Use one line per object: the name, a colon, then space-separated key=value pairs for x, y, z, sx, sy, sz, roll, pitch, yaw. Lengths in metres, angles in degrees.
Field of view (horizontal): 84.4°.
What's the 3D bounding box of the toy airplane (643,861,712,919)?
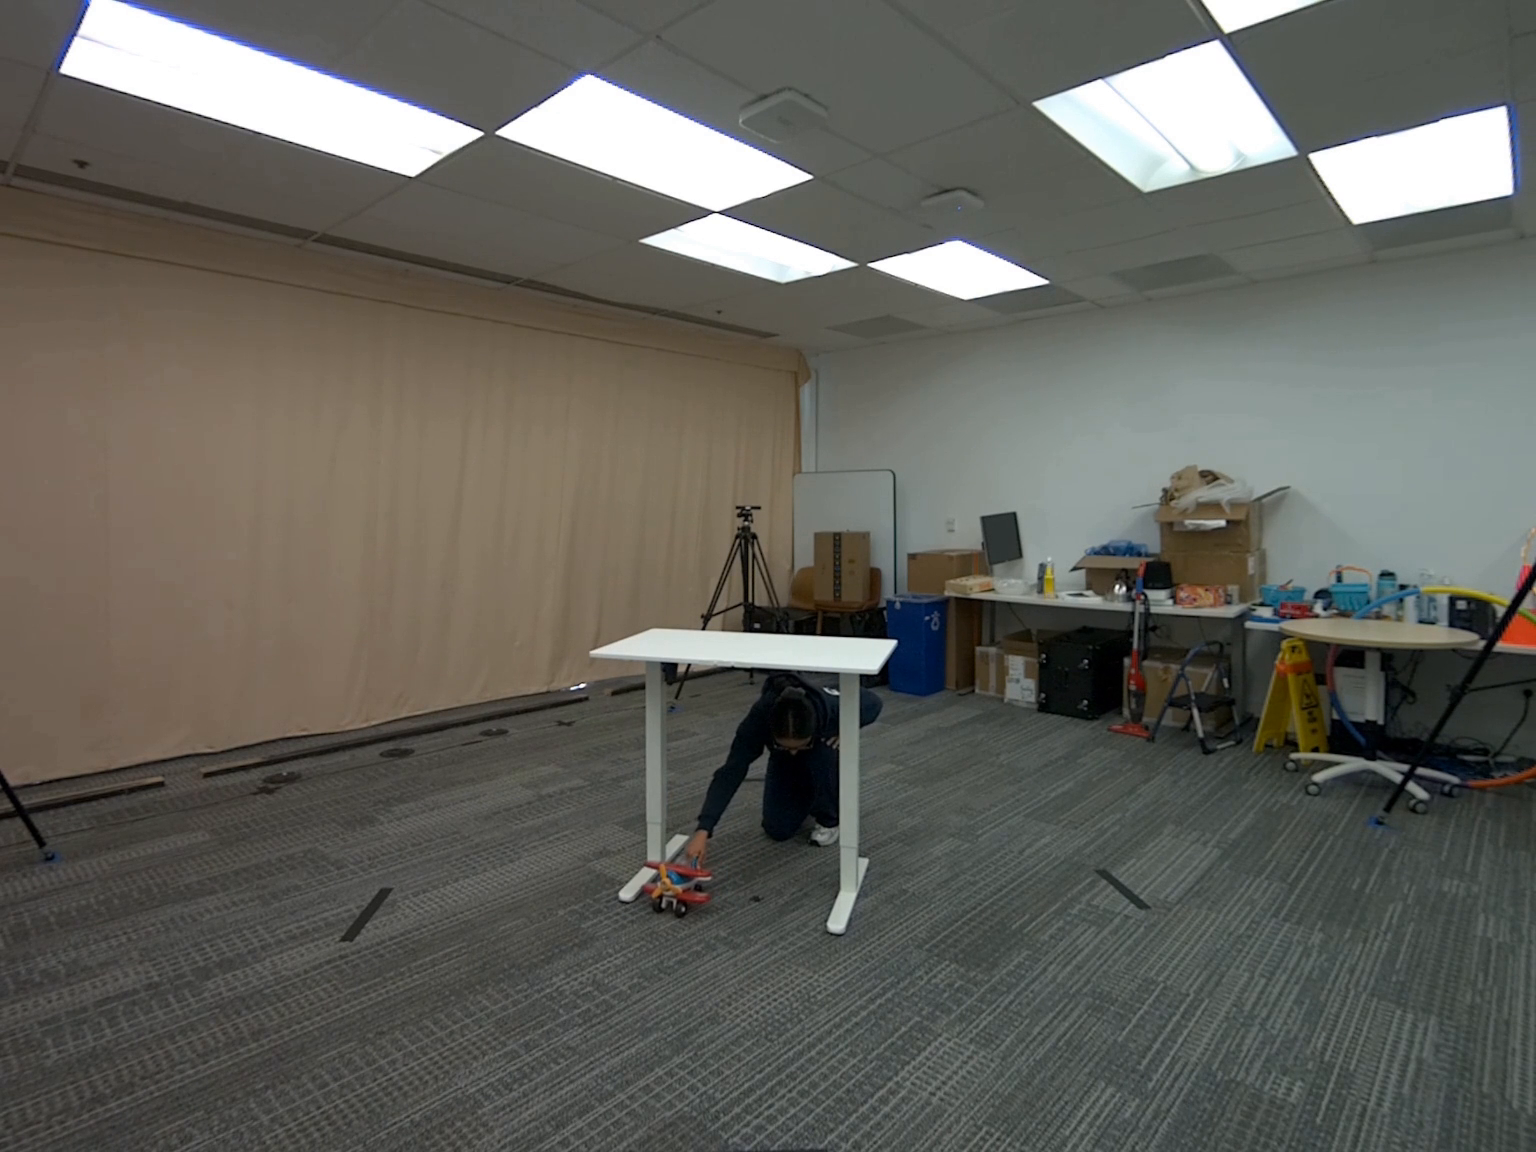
toy airplane: x=-0.300 y=1.078 z=2.961 sx=0.250 sy=0.156 sz=0.261 roll=-2 pitch=6 yaw=-4
